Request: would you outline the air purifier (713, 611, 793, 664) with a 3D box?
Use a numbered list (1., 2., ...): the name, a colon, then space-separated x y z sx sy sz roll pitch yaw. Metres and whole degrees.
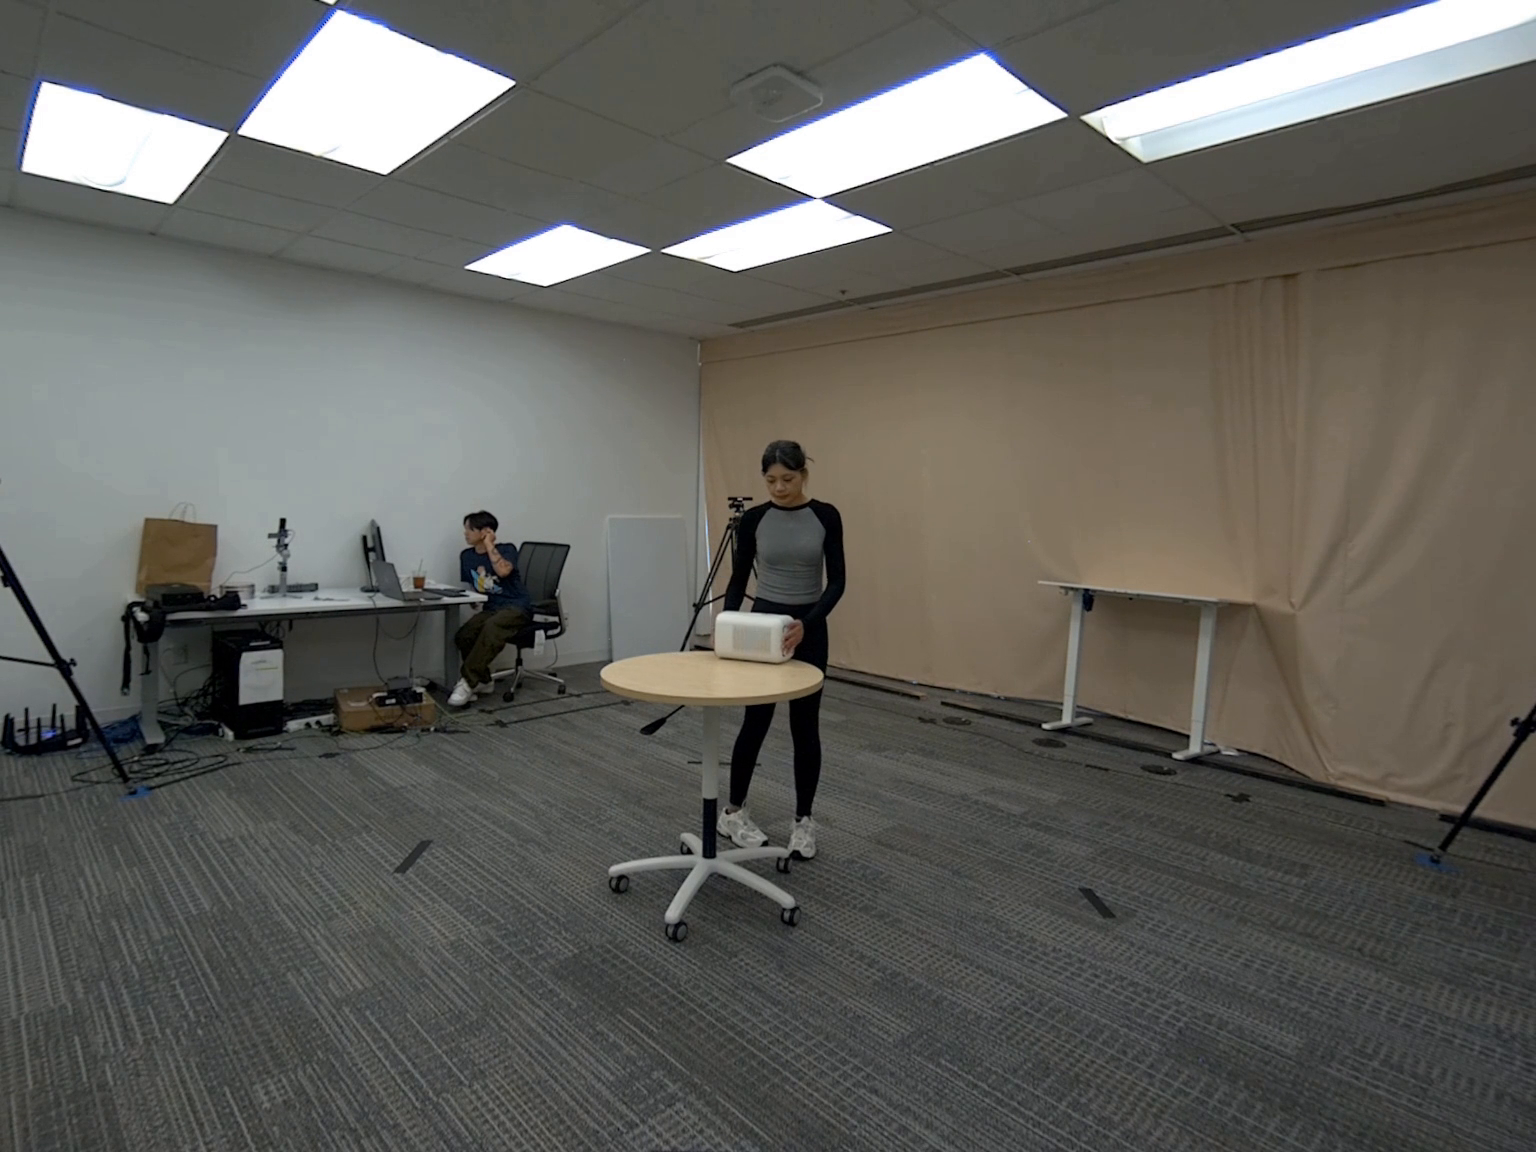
1. air purifier: -0.055 0.225 3.123 0.270 0.171 0.168 3 3 25
